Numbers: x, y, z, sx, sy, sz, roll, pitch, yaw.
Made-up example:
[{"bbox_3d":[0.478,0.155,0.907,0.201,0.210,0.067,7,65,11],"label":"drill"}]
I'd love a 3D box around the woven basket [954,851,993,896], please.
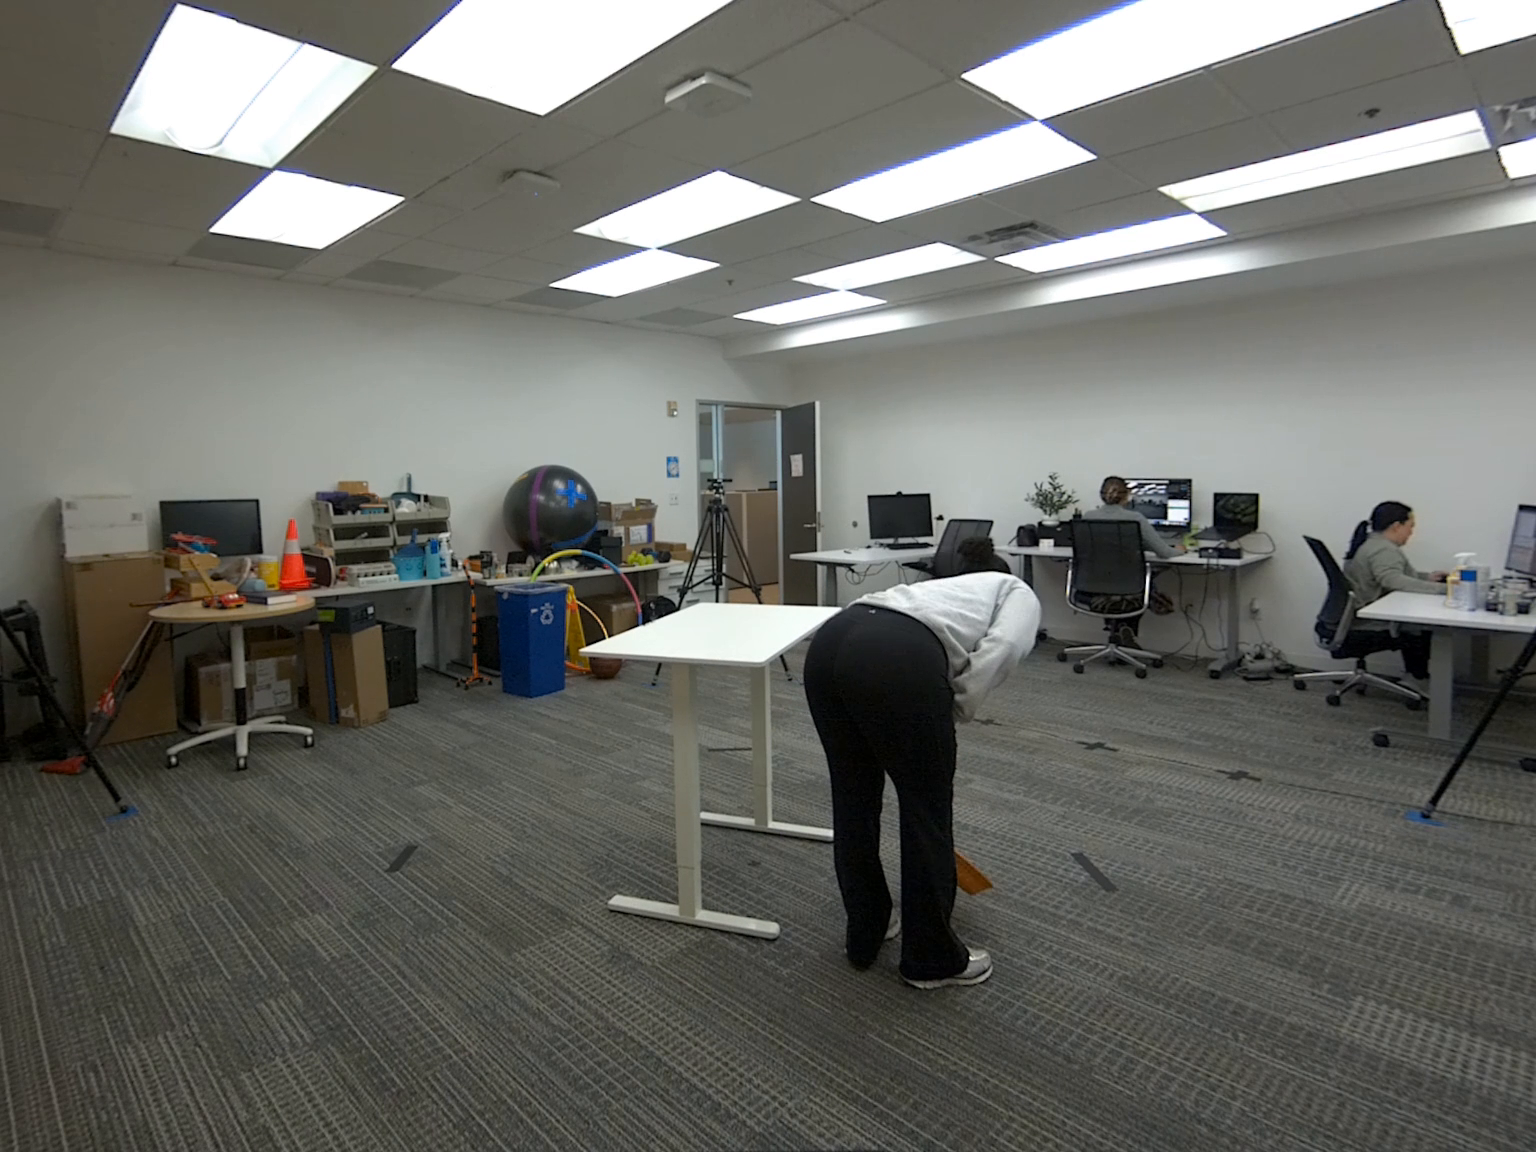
[{"bbox_3d":[0.587,0.891,2.726,0.248,0.073,0.356,40,-9,-14],"label":"woven basket"}]
